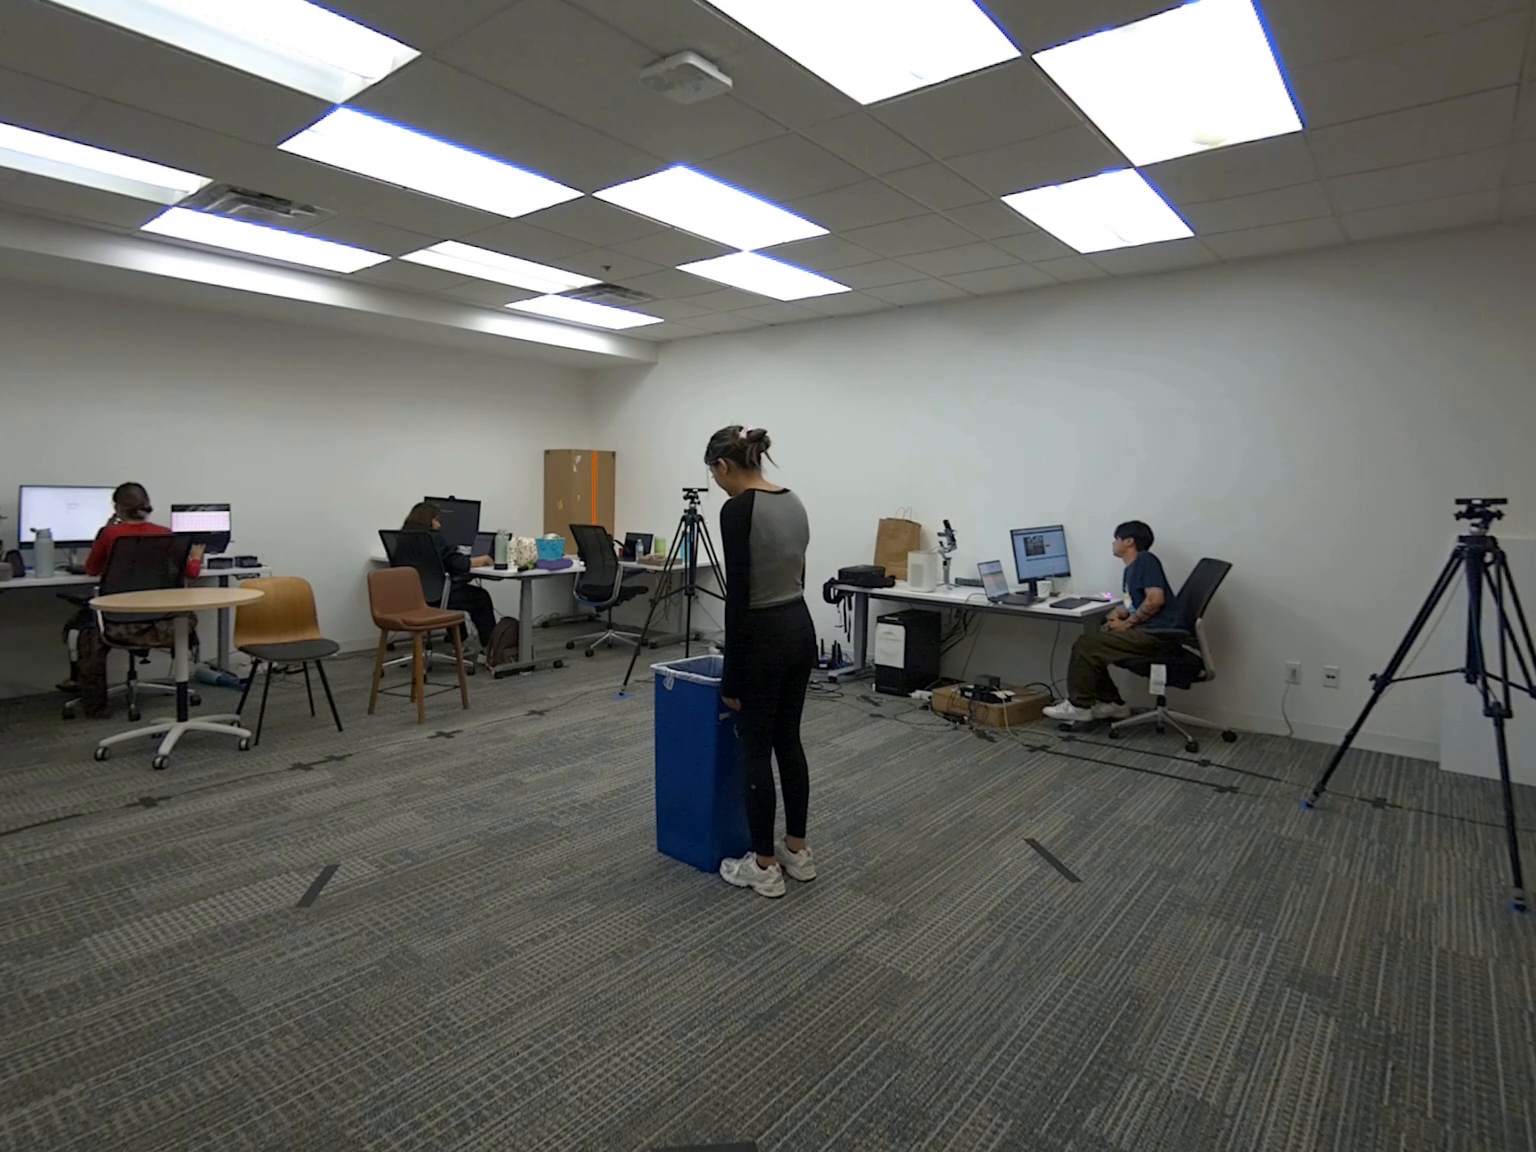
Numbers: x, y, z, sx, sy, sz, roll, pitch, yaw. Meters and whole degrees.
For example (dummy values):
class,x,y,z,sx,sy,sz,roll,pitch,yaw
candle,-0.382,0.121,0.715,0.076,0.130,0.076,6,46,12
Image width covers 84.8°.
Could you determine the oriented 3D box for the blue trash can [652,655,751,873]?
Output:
class,x,y,z,sx,sy,sz,roll,pitch,yaw
blue trash can,-0.226,0.697,3.268,0.391,0.711,0.363,4,4,40
